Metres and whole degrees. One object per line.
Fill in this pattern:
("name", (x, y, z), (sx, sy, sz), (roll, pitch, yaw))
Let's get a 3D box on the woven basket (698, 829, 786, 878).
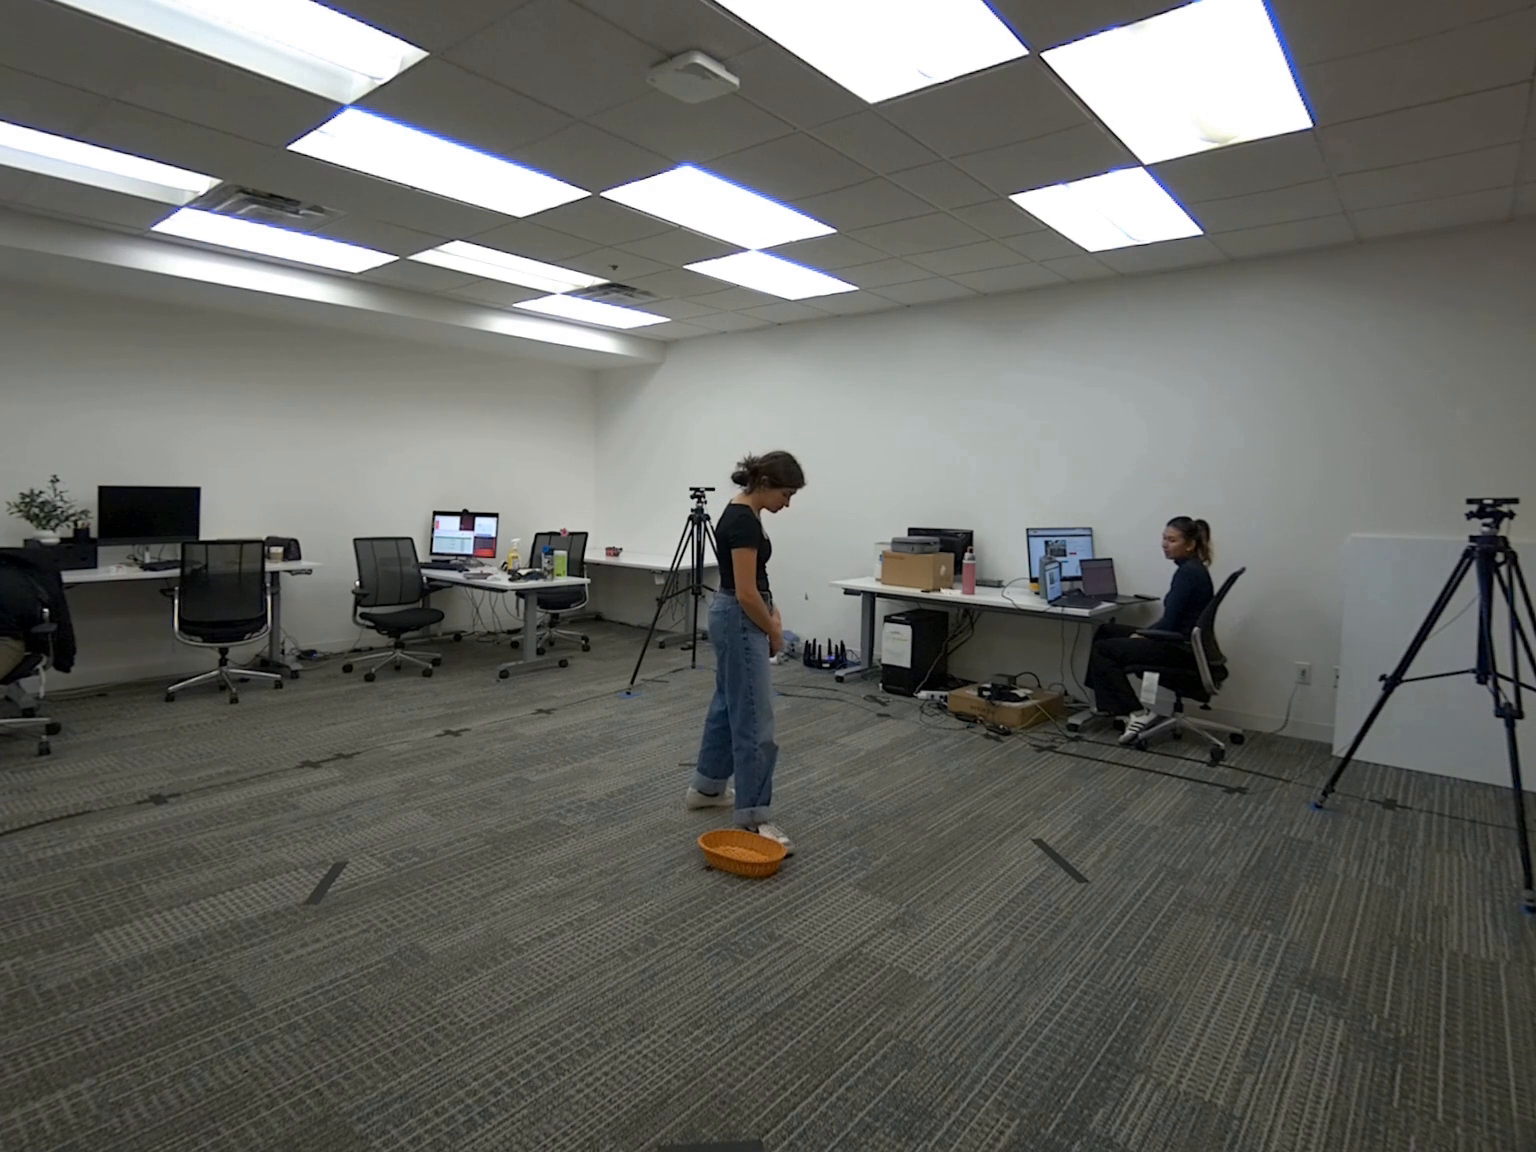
("woven basket", (-0.108, 1.020, 3.157), (0.362, 0.073, 0.245), (4, 4, 36))
